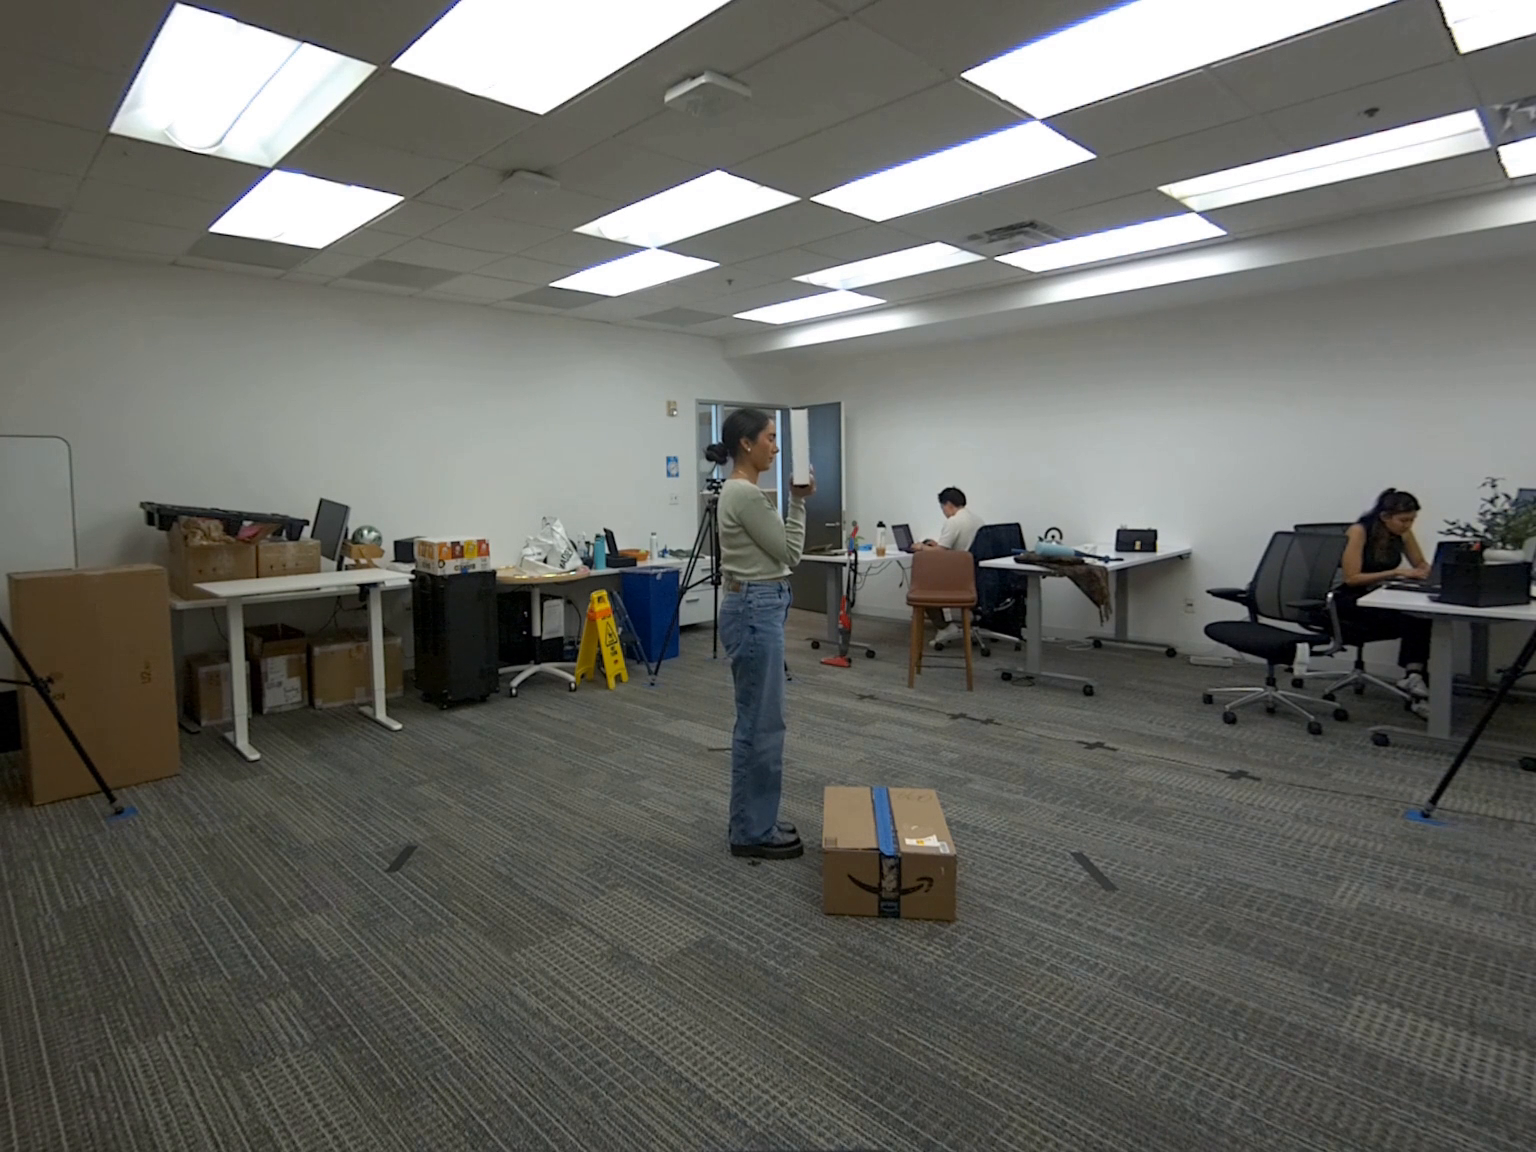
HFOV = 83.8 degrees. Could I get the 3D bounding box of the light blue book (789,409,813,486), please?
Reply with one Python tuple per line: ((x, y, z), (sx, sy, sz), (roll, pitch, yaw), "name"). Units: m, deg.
((0.116, -0.442, 2.999), (0.059, 0.262, 0.190), (-1, -2, 4), "light blue book")
